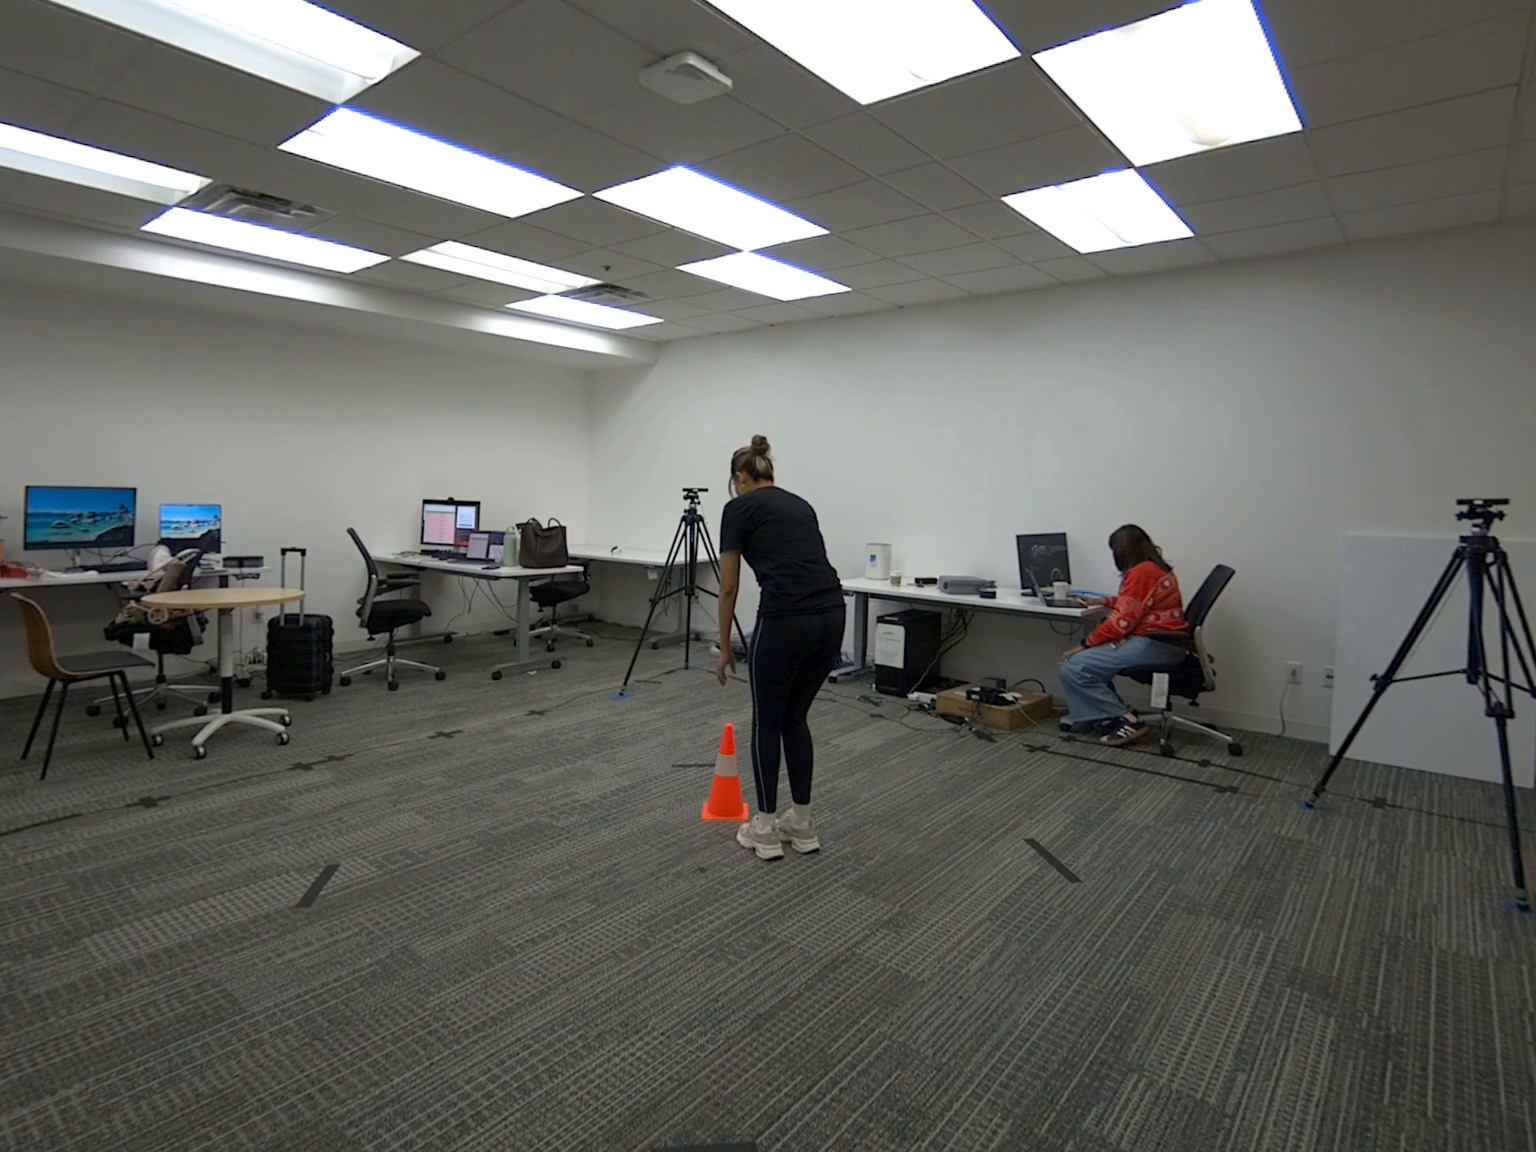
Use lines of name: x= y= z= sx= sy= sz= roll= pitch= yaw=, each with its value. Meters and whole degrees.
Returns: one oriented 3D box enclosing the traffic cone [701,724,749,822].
traffic cone: x=-0.184 y=0.830 z=3.673 sx=0.205 sy=0.382 sz=0.204 roll=2 pitch=5 yaw=1
